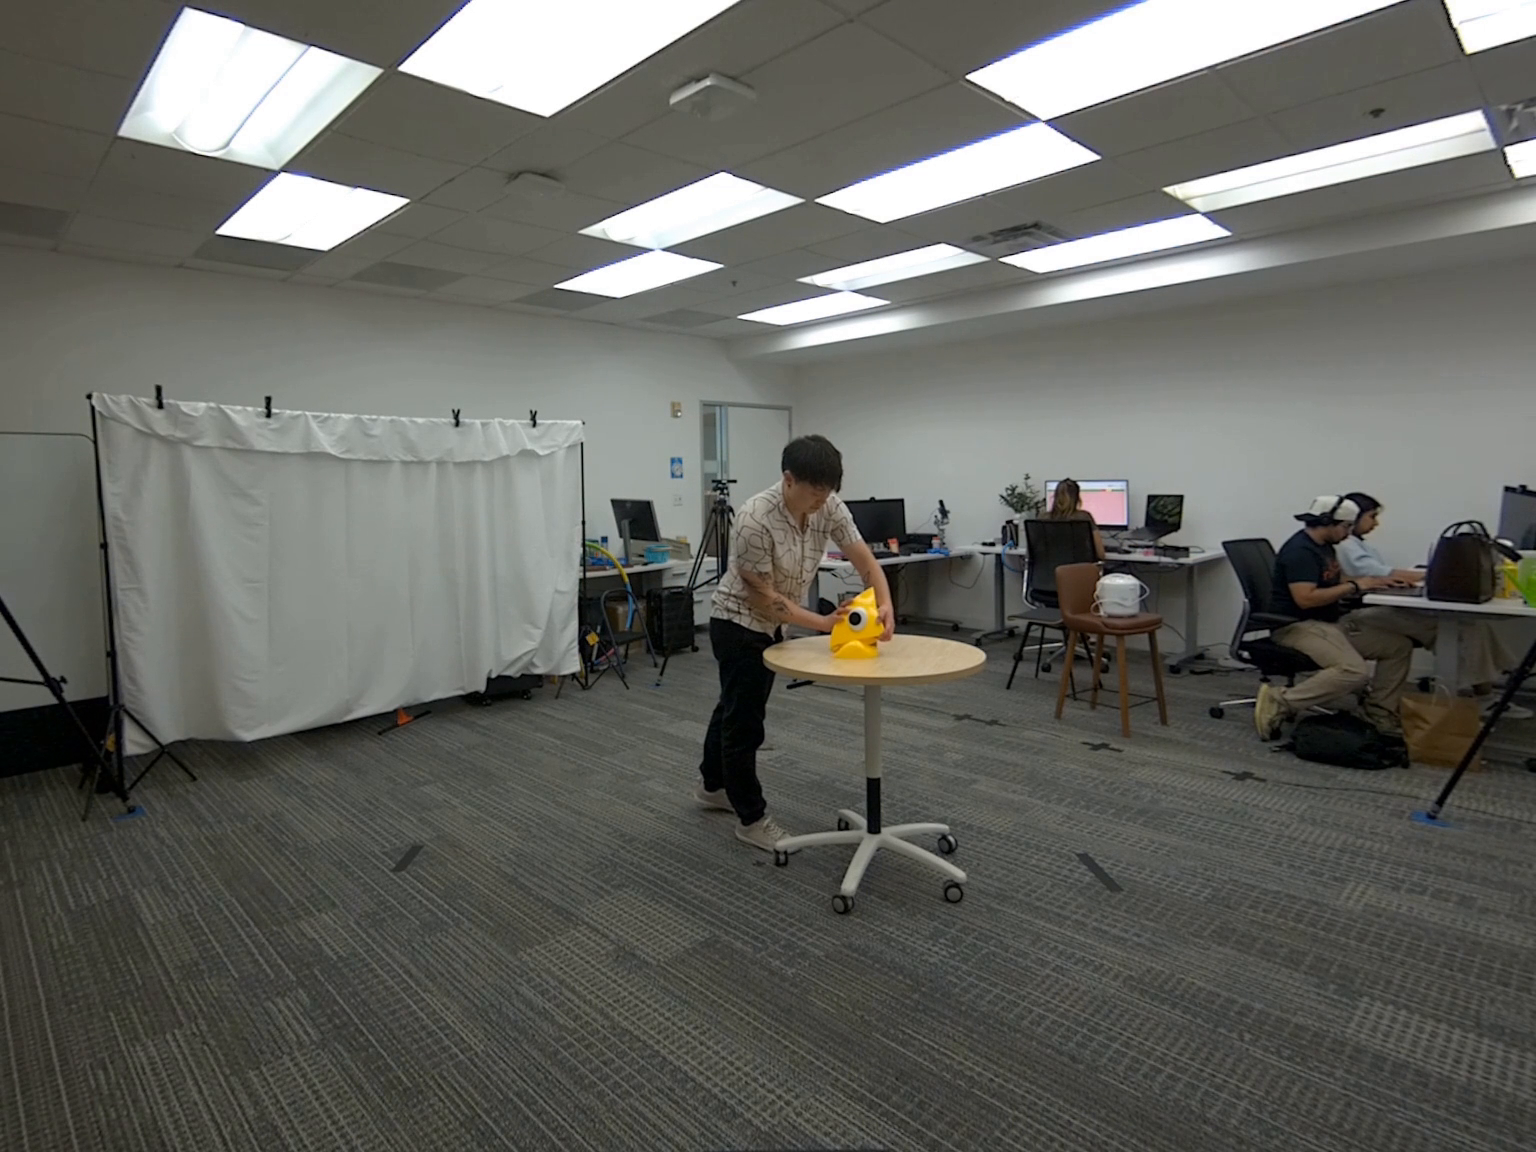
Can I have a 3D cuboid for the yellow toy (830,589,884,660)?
[{"bbox_3d":[0.310,0.155,2.995,0.193,0.230,0.205,-2,3,1],"label":"yellow toy"}]
